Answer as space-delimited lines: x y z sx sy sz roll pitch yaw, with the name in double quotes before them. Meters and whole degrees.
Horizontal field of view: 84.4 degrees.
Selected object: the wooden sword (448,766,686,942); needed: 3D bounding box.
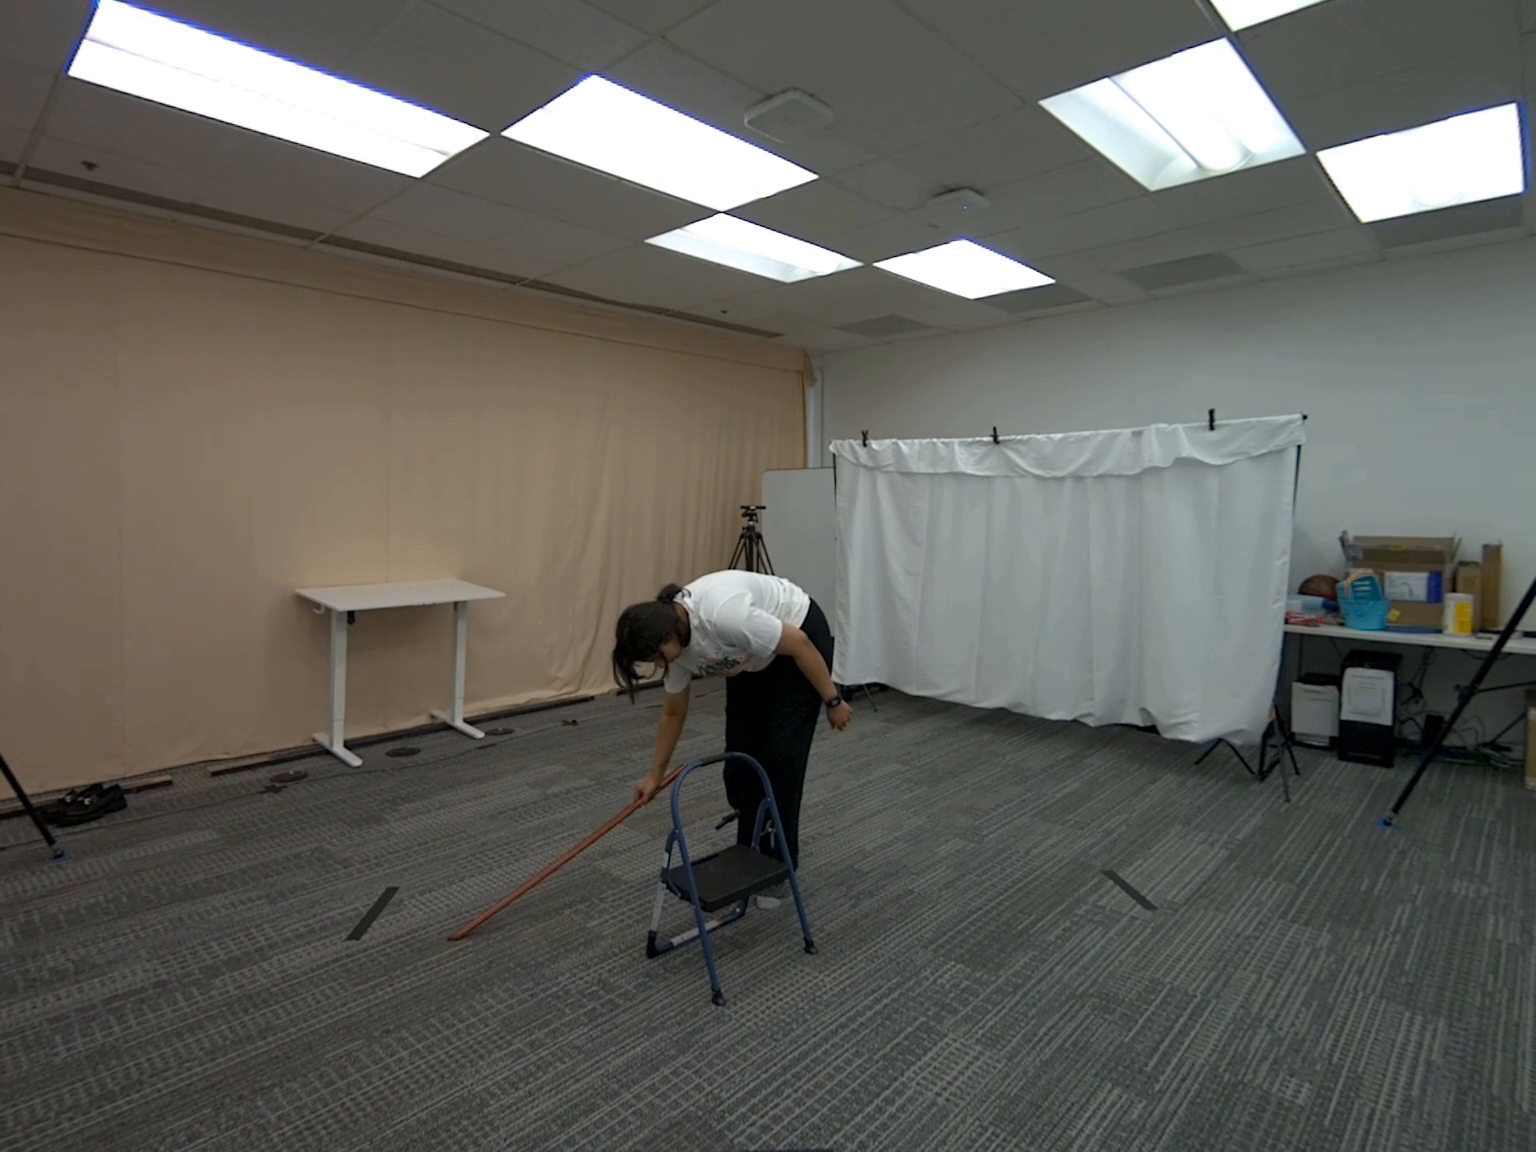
"wooden sword" -0.659 0.955 2.981 1.007 0.024 0.052 -31 7 -34
